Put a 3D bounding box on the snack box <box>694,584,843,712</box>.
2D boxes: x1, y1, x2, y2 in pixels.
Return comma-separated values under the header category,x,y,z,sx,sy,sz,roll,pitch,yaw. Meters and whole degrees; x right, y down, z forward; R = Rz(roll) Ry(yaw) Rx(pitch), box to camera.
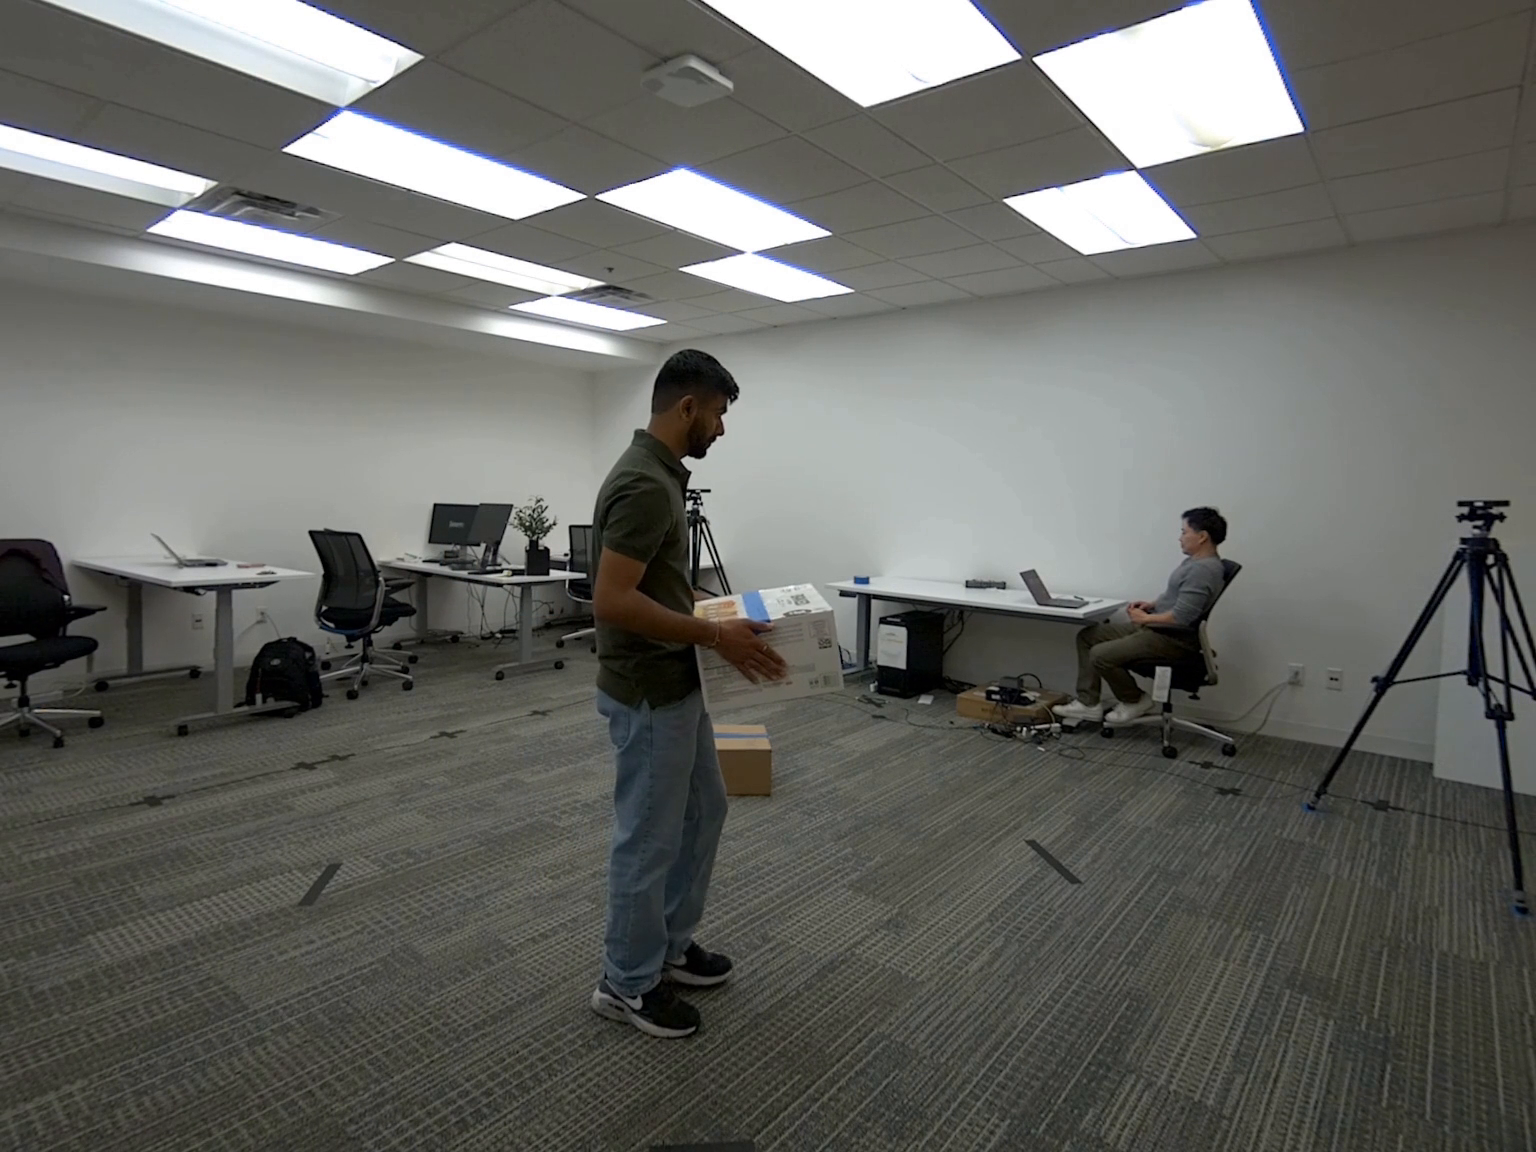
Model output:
category,x,y,z,sx,sy,sz,roll,pitch,yaw
snack box,-0.023,0.175,2.198,0.340,0.204,0.409,-9,8,-2
